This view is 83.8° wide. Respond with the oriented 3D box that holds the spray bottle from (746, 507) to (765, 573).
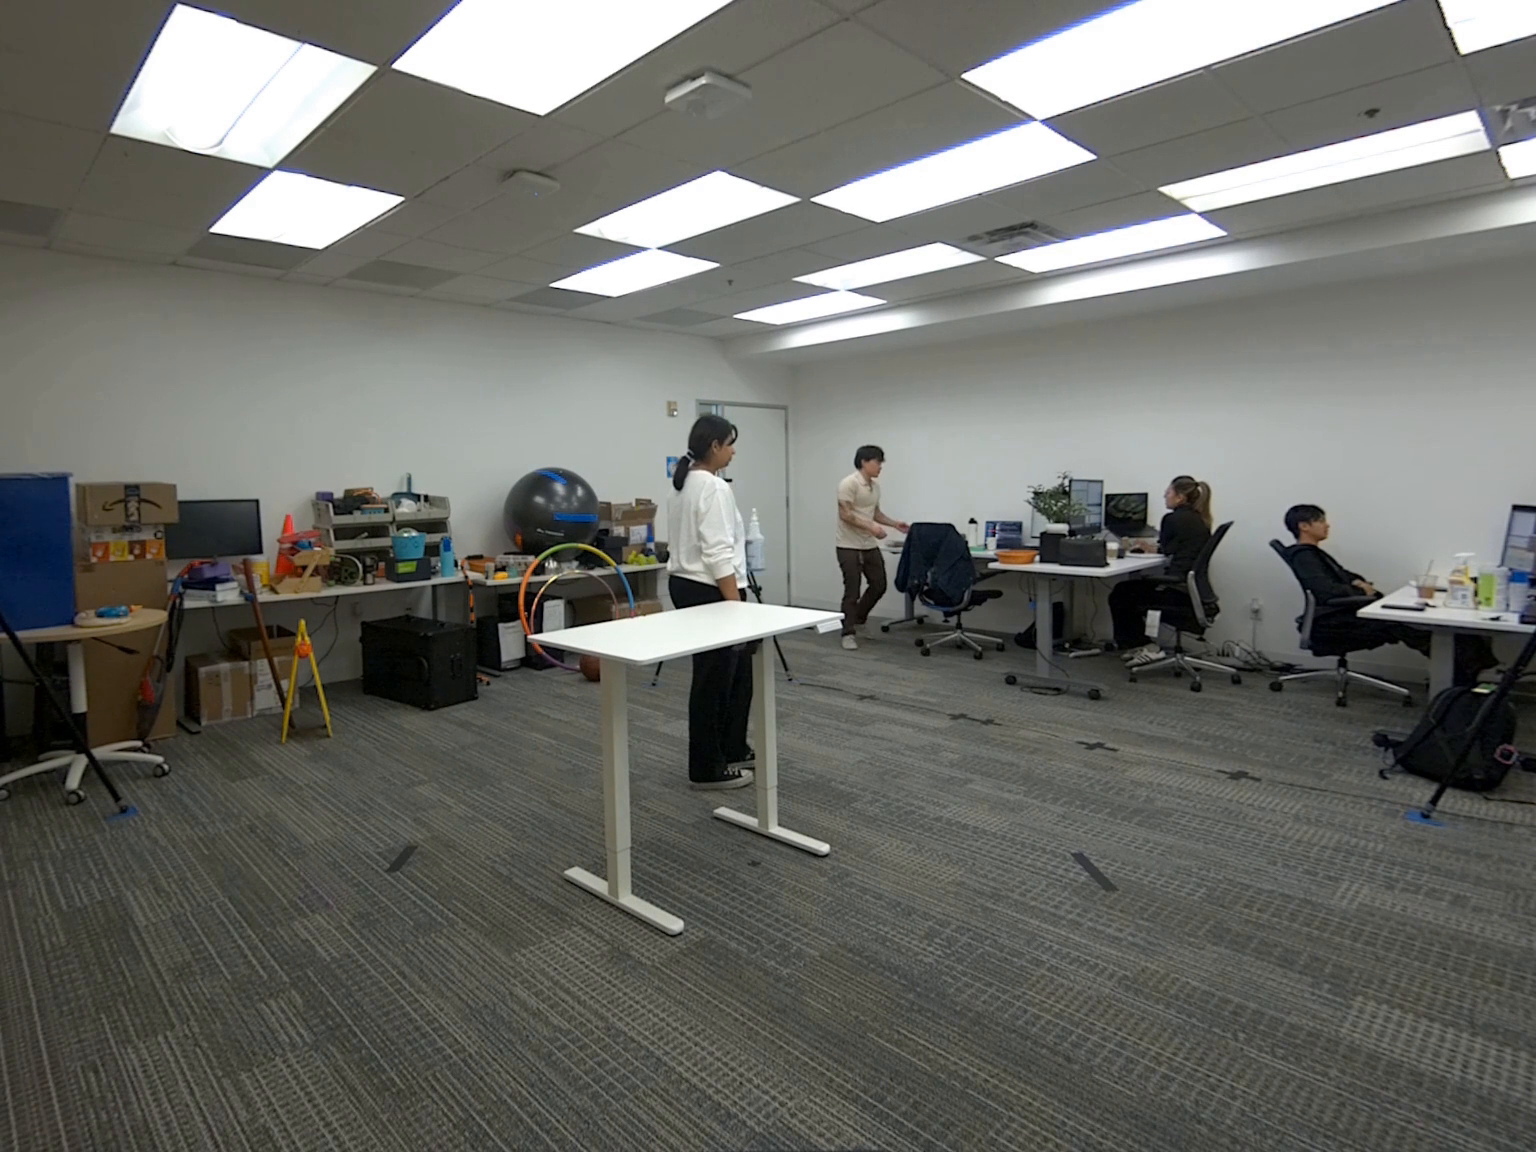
[{"bbox_3d":[-0.063,-0.166,4.035,0.089,0.296,0.088,1,5,27],"label":"spray bottle"}]
